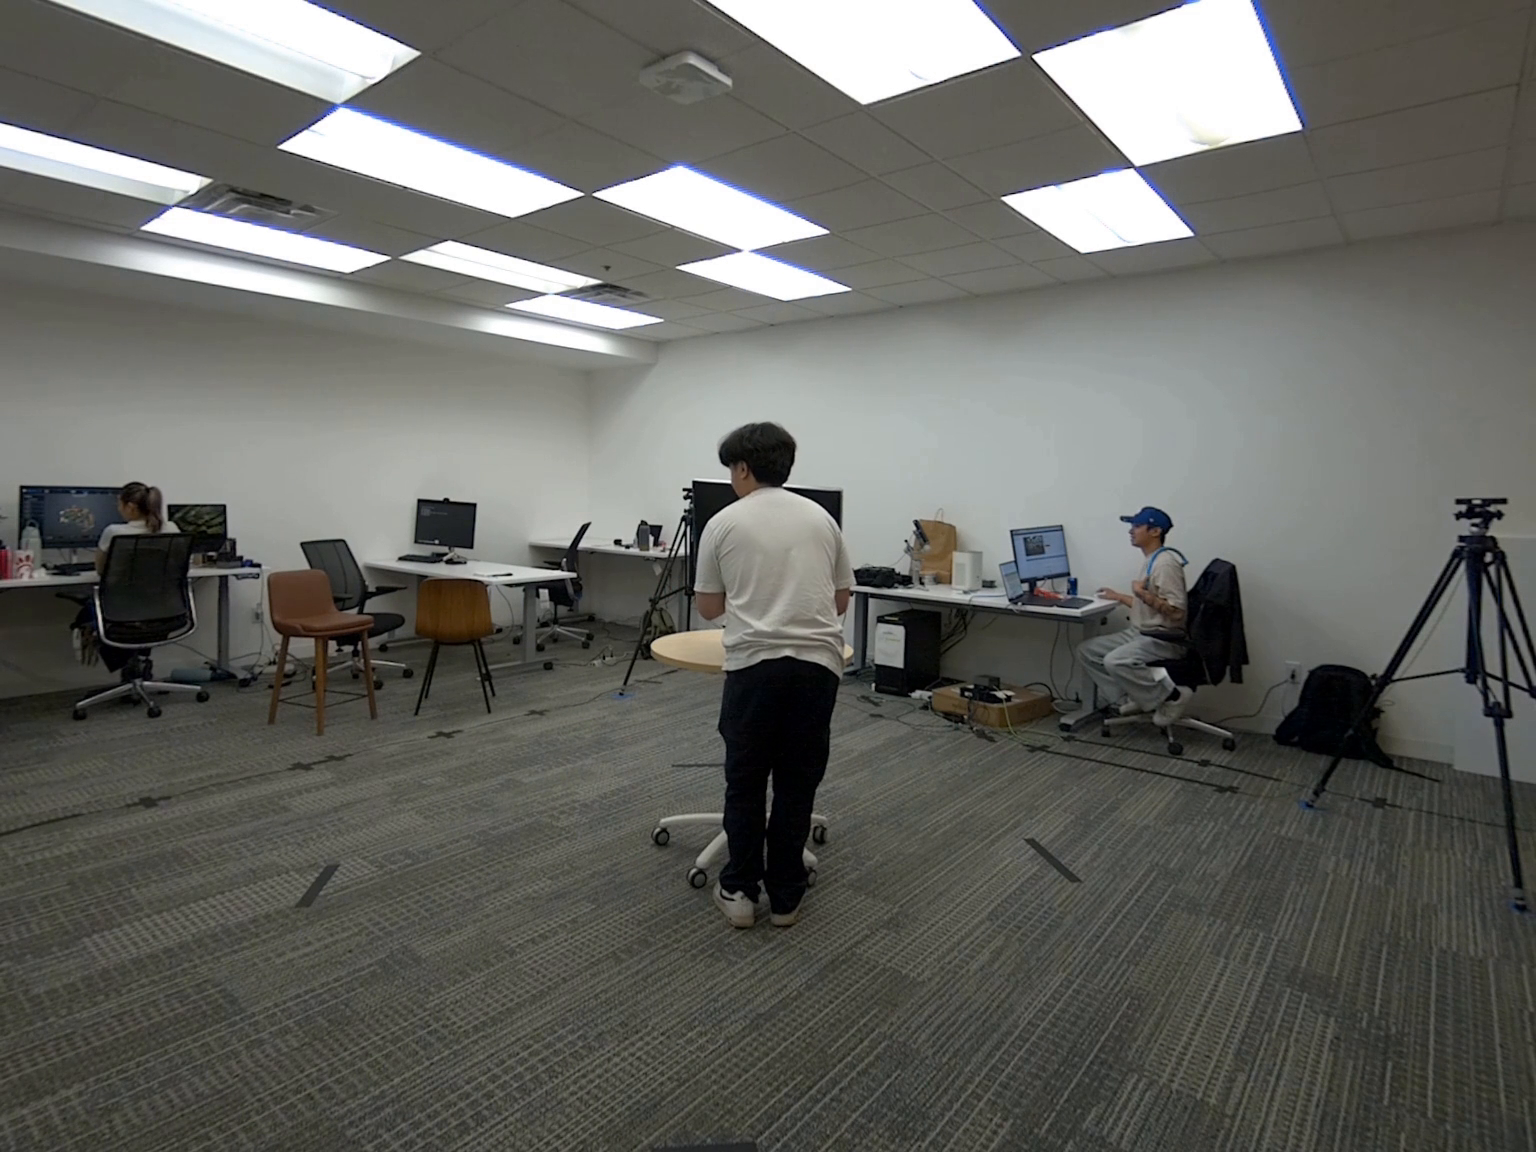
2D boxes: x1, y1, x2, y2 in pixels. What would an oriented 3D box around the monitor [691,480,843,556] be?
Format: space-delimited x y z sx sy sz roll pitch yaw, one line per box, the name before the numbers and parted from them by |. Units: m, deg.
monitor | -0.035 -0.061 3.076 0.577 0.546 0.209 7 16 17
